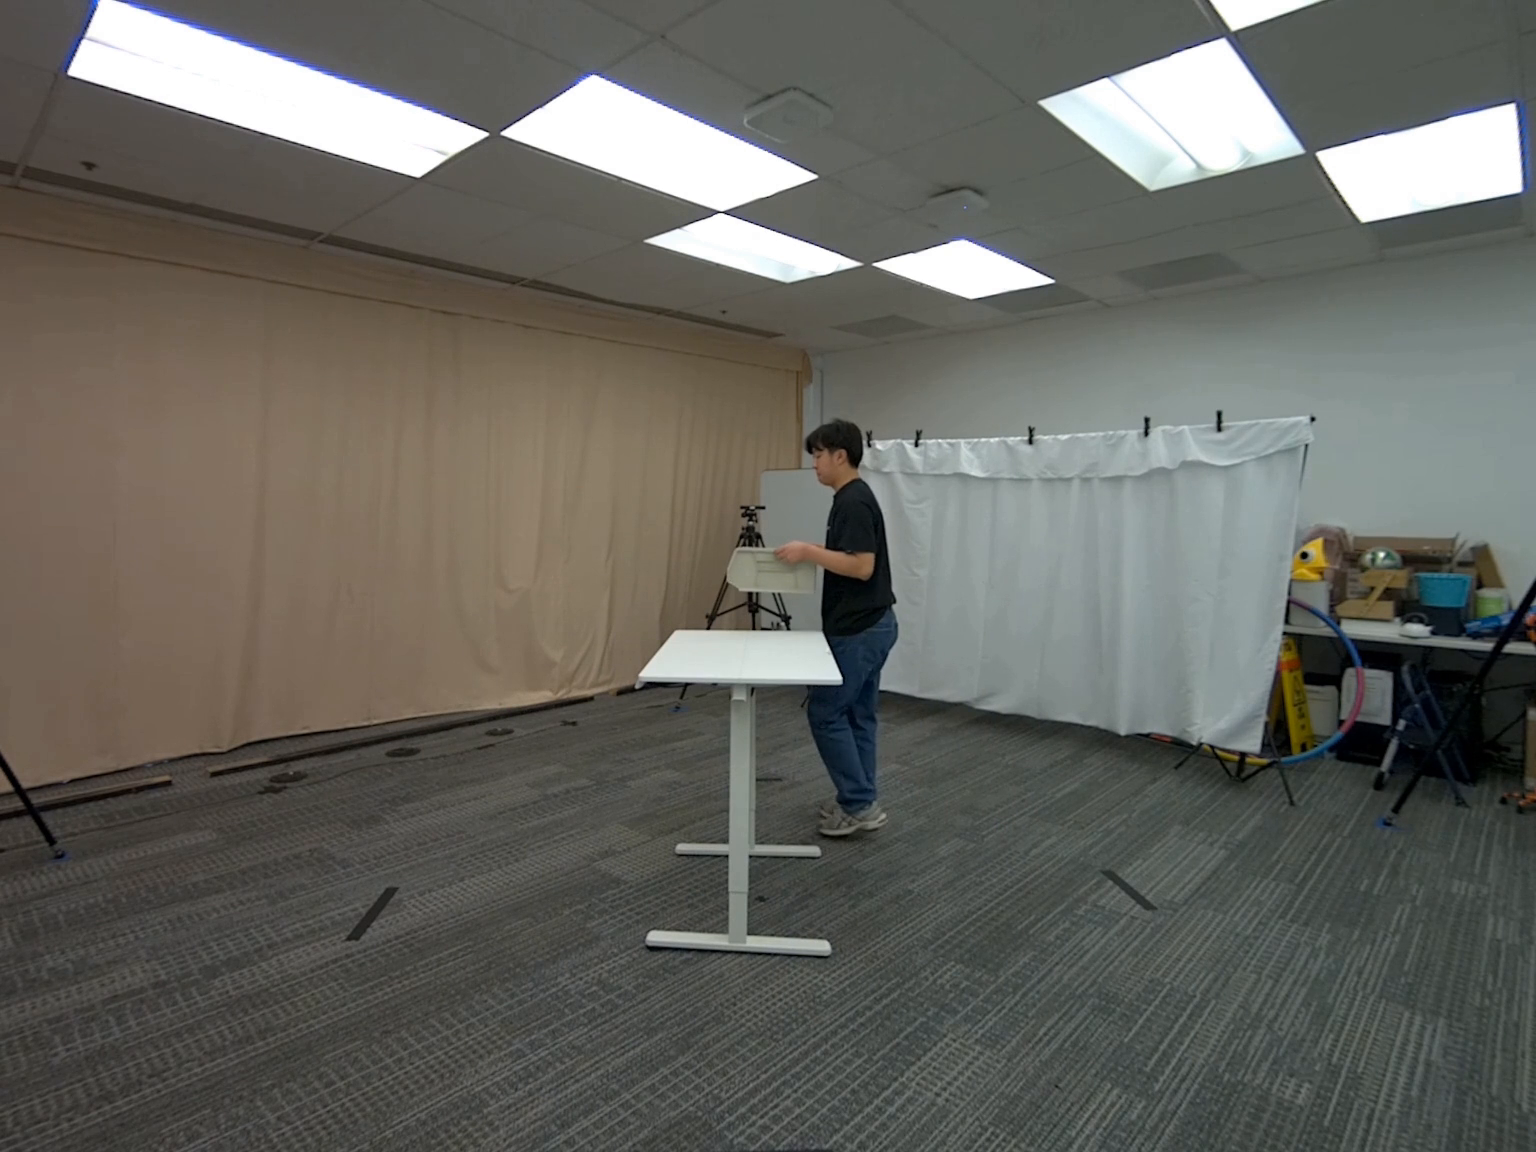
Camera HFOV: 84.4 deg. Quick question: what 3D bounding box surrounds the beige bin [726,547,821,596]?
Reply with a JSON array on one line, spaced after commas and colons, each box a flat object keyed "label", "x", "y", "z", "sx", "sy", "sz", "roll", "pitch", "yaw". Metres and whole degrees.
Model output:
[{"label": "beige bin", "x": 0.016, "y": -0.016, "z": 3.670, "sx": 0.378, "sy": 0.189, "sz": 0.421, "roll": 3, "pitch": -1, "yaw": 0}]
